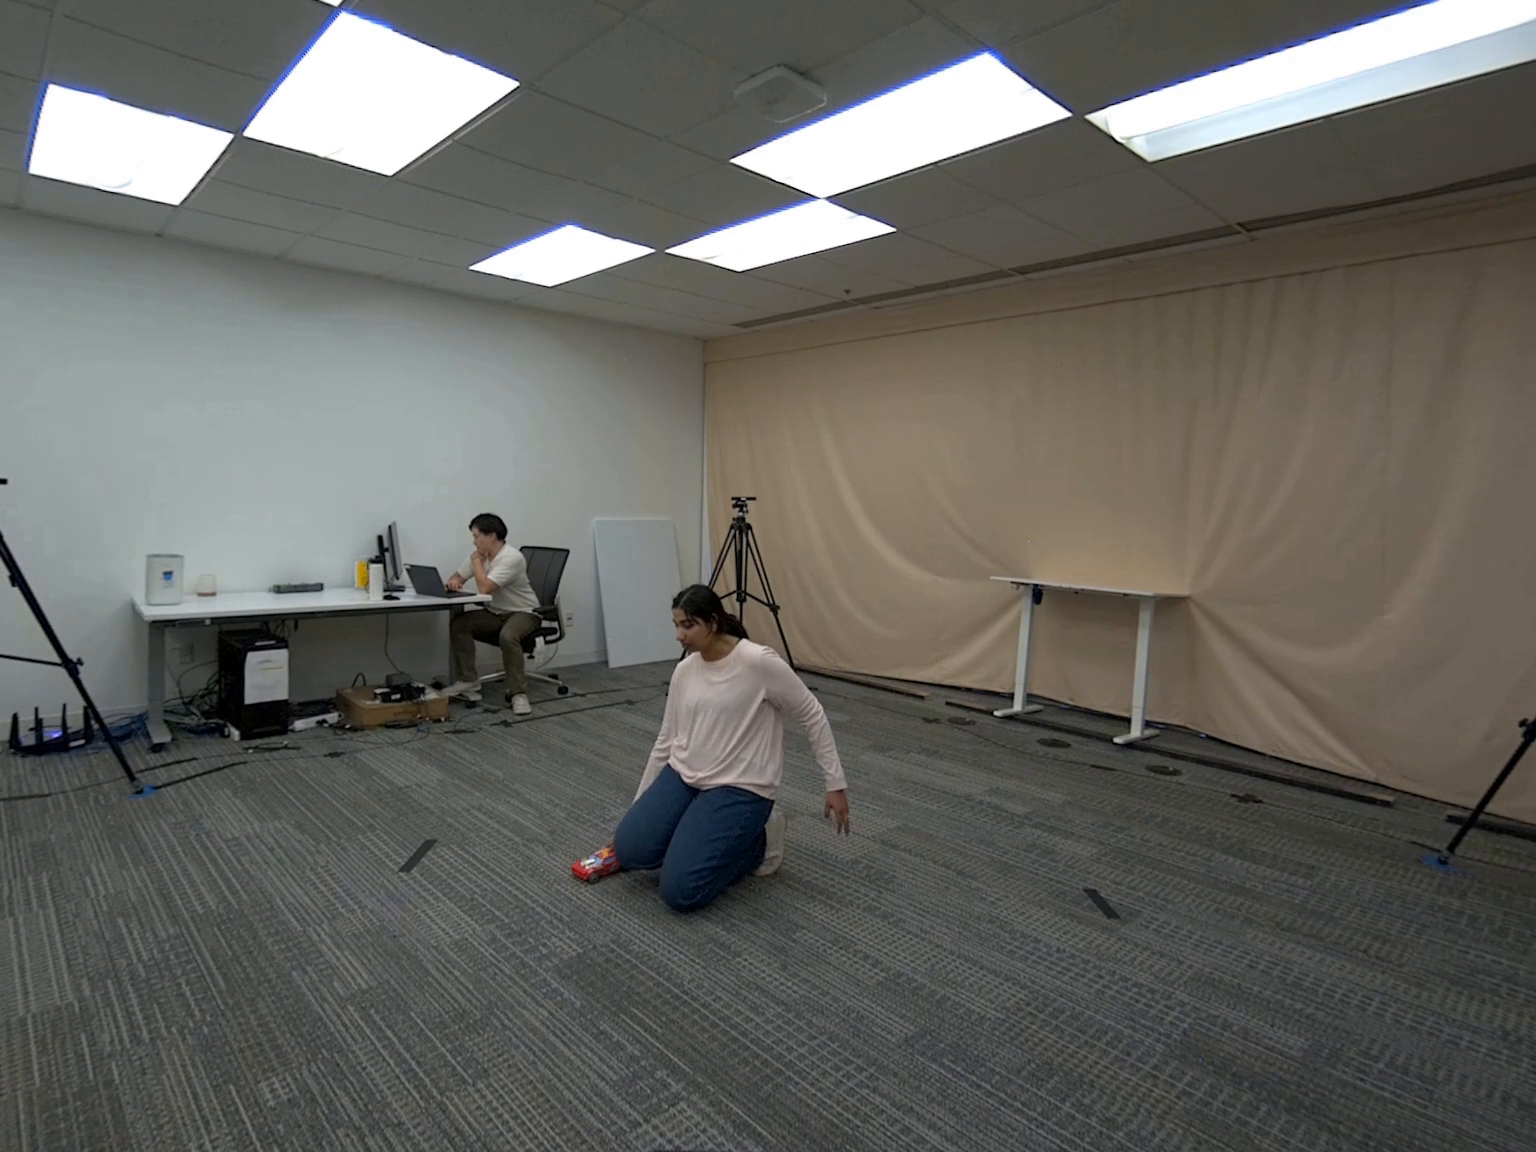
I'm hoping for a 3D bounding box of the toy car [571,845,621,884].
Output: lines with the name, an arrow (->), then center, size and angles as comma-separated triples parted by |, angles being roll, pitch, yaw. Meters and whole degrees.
toy car -> -0.605, 1.056, 3.119 | 0.133, 0.082, 0.250 | 4, 16, 45
